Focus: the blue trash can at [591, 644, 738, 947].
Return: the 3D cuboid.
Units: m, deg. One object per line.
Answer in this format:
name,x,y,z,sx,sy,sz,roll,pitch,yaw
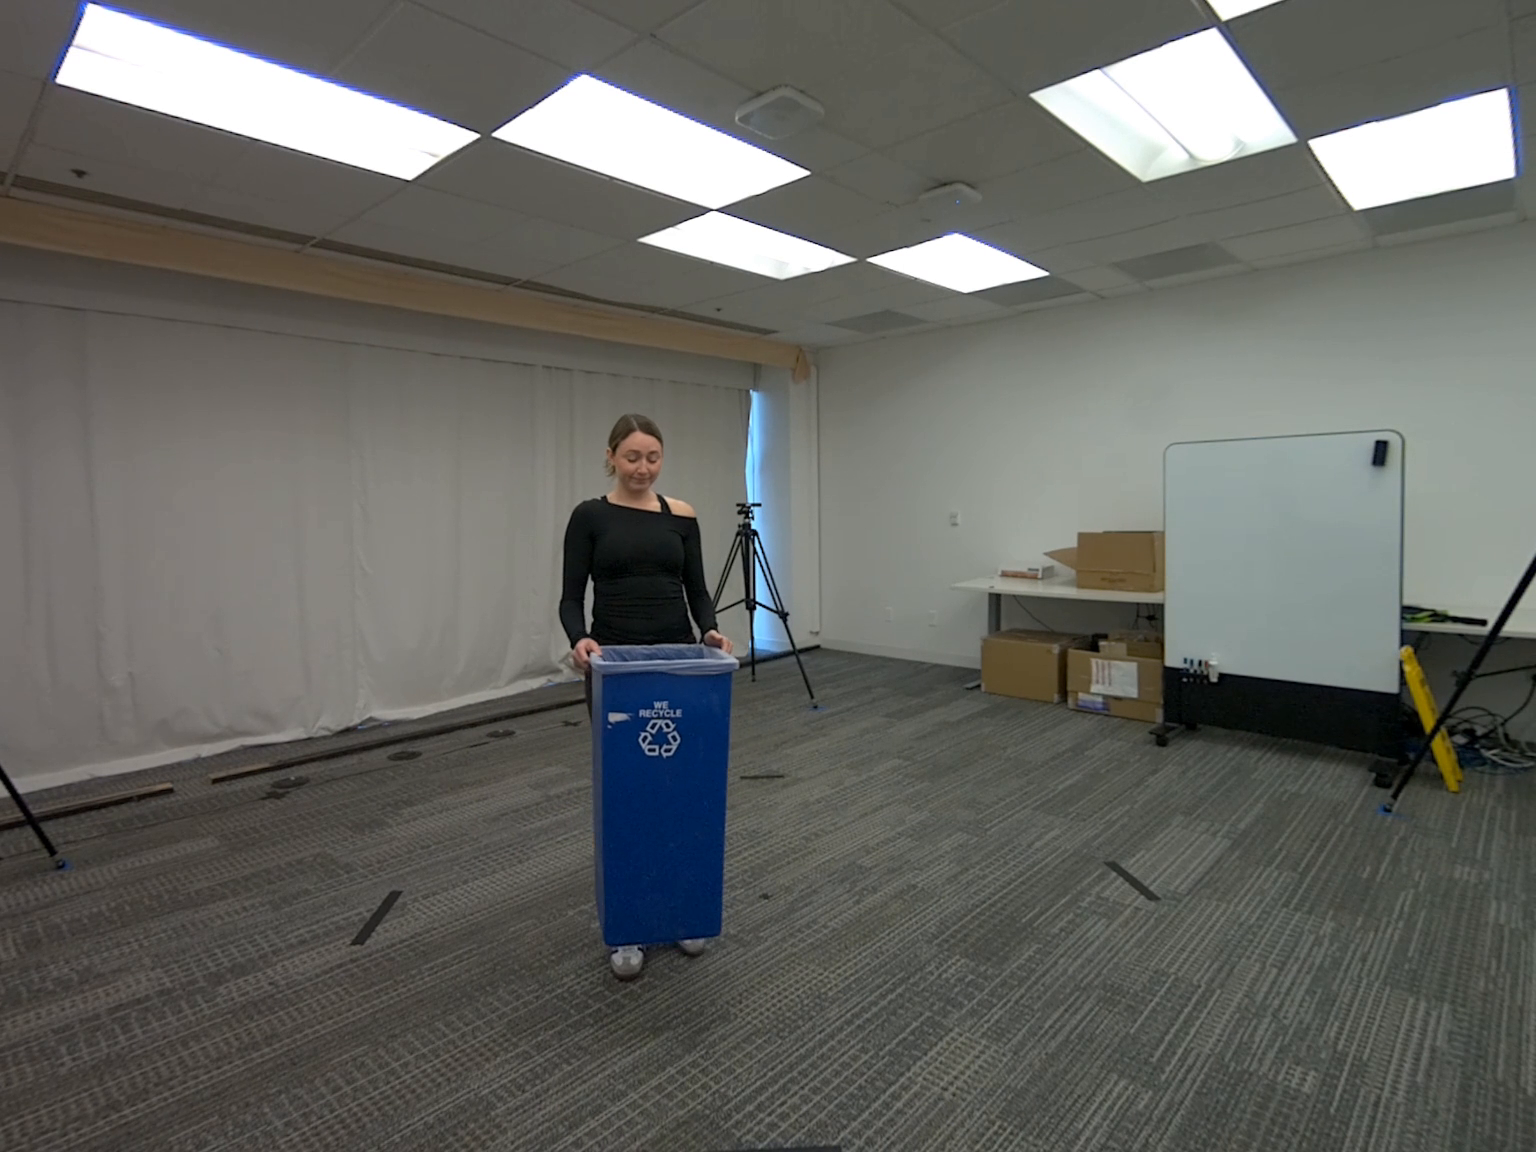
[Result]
blue trash can,-0.292,0.572,2.263,0.368,0.713,0.384,0,1,-16
